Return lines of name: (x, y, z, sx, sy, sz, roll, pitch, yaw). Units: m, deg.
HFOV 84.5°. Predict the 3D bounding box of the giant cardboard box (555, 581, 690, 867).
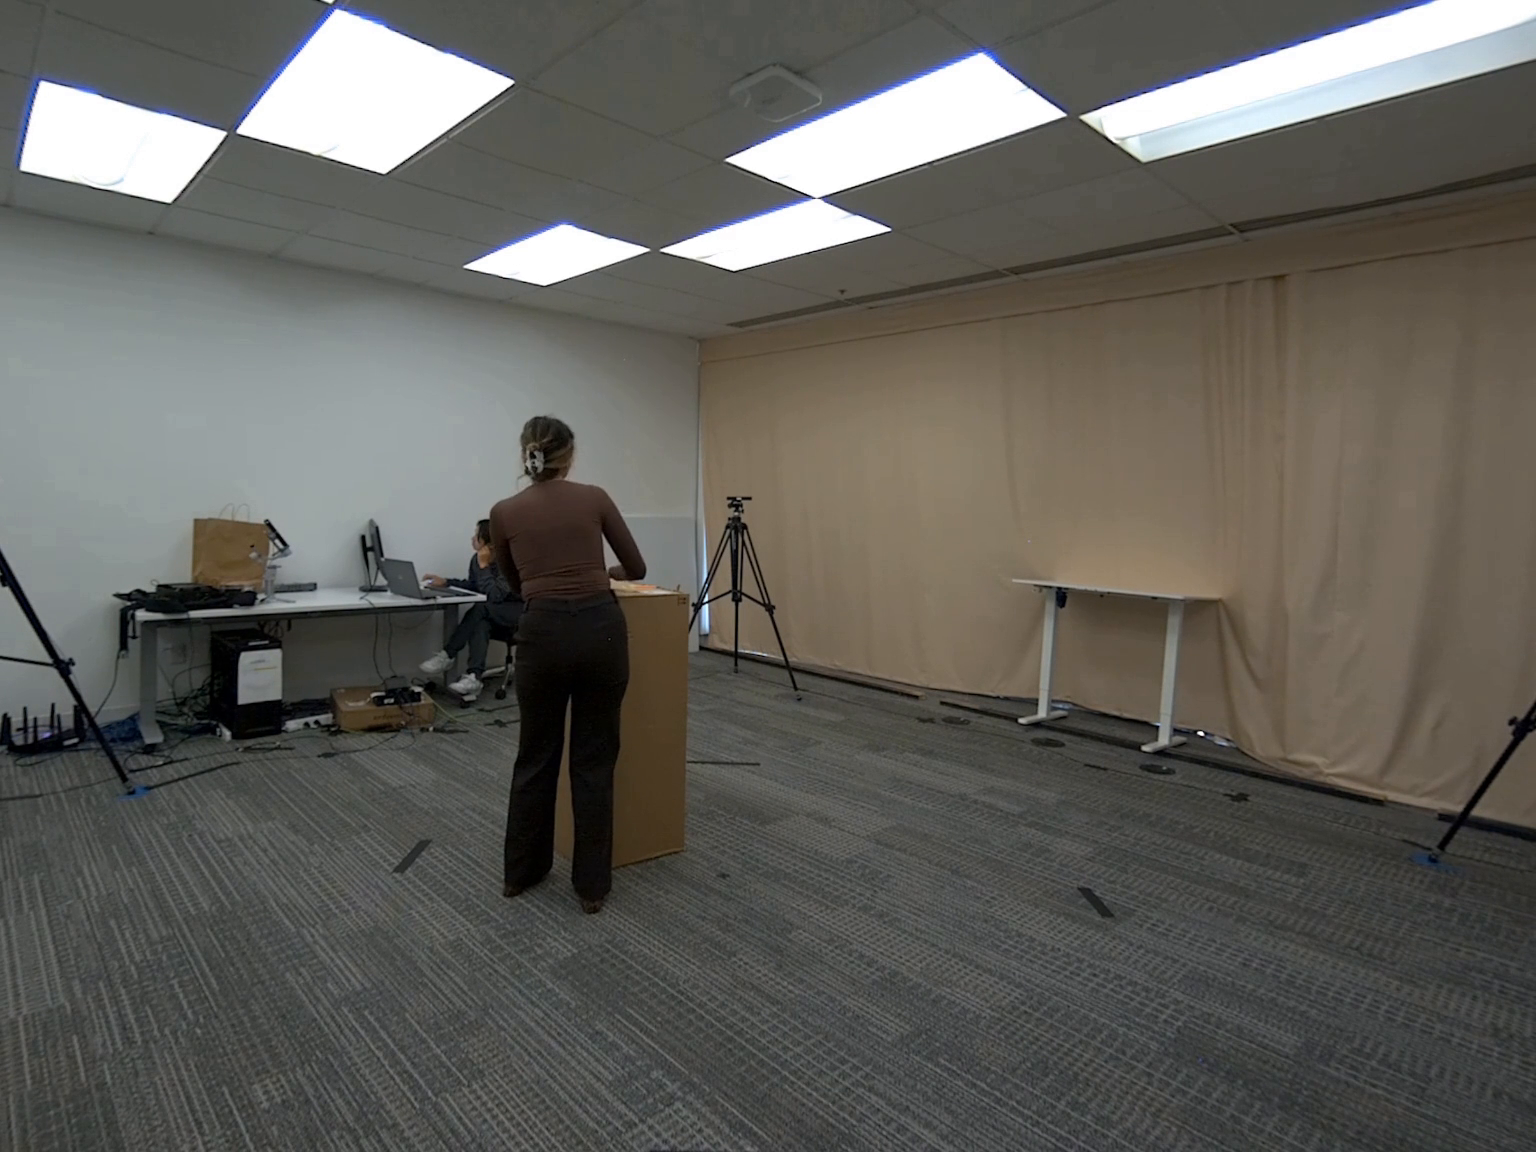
giant cardboard box: (-0.660, 0.557, 3.409, 0.437, 1.025, 0.598, 0, 3, -36)
